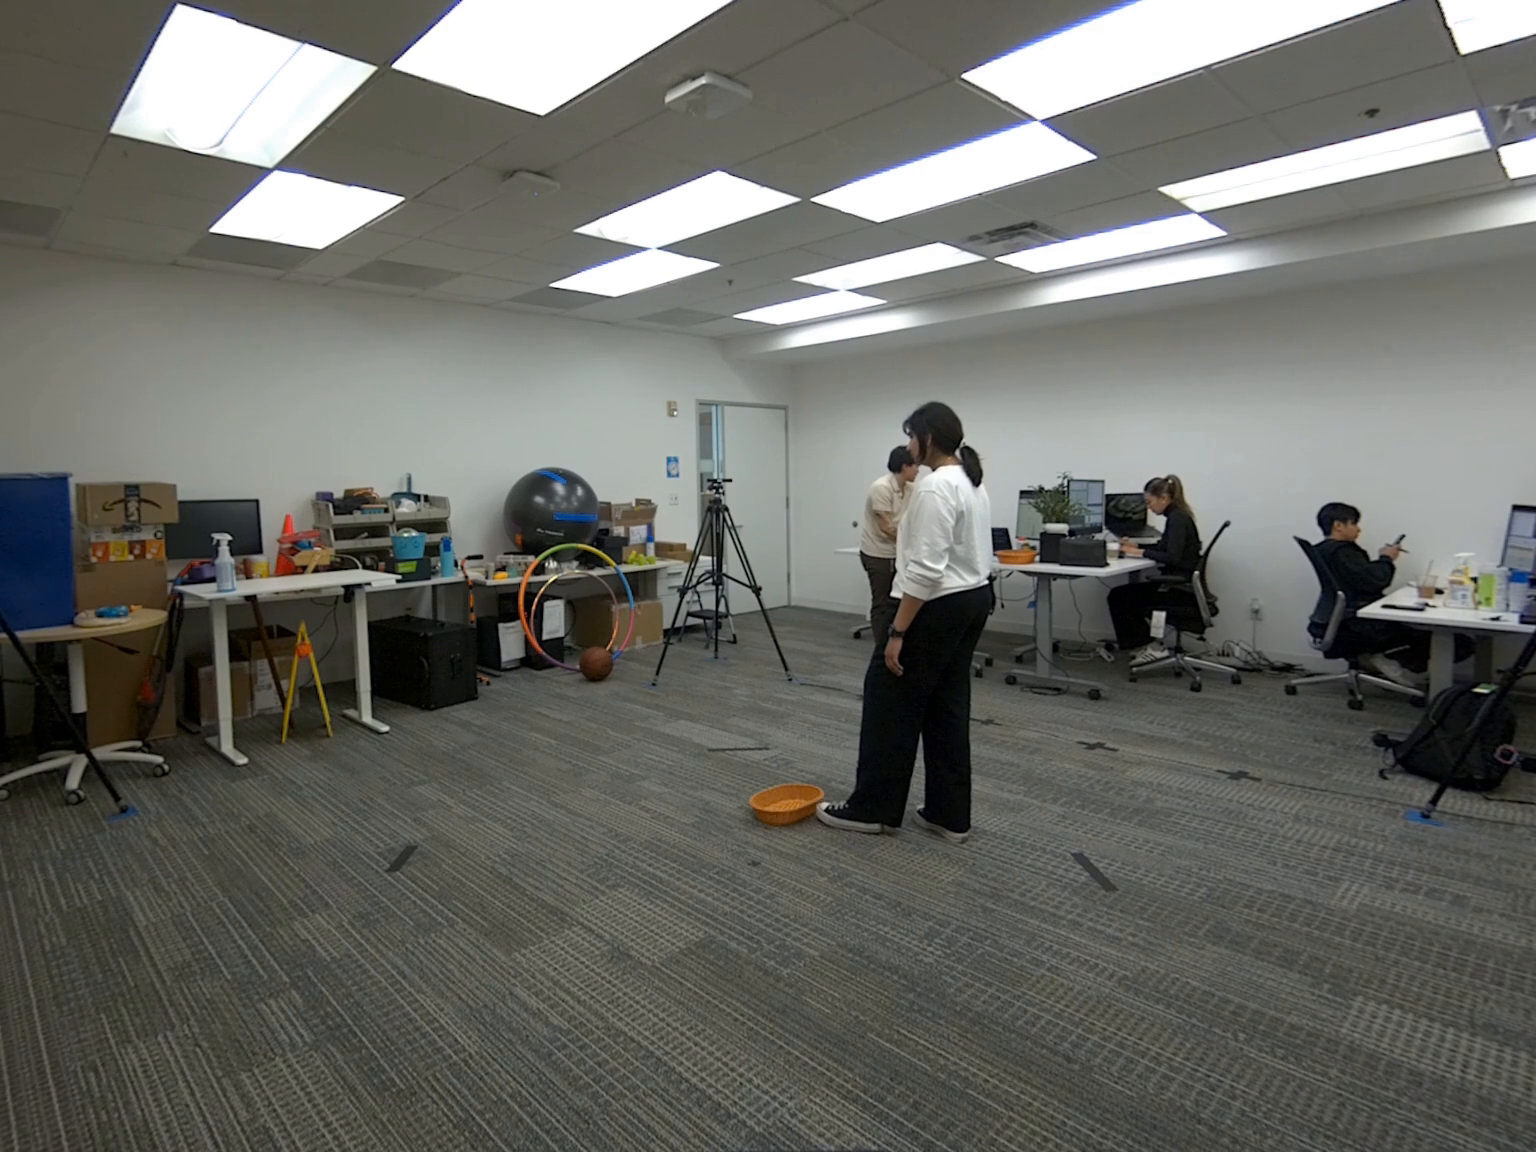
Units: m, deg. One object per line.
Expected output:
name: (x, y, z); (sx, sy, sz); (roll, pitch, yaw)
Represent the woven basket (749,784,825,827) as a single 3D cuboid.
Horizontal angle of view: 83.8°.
woven basket: (0.081, 0.949, 3.571); (0.341, 0.073, 0.260); (-7, 7, -42)
